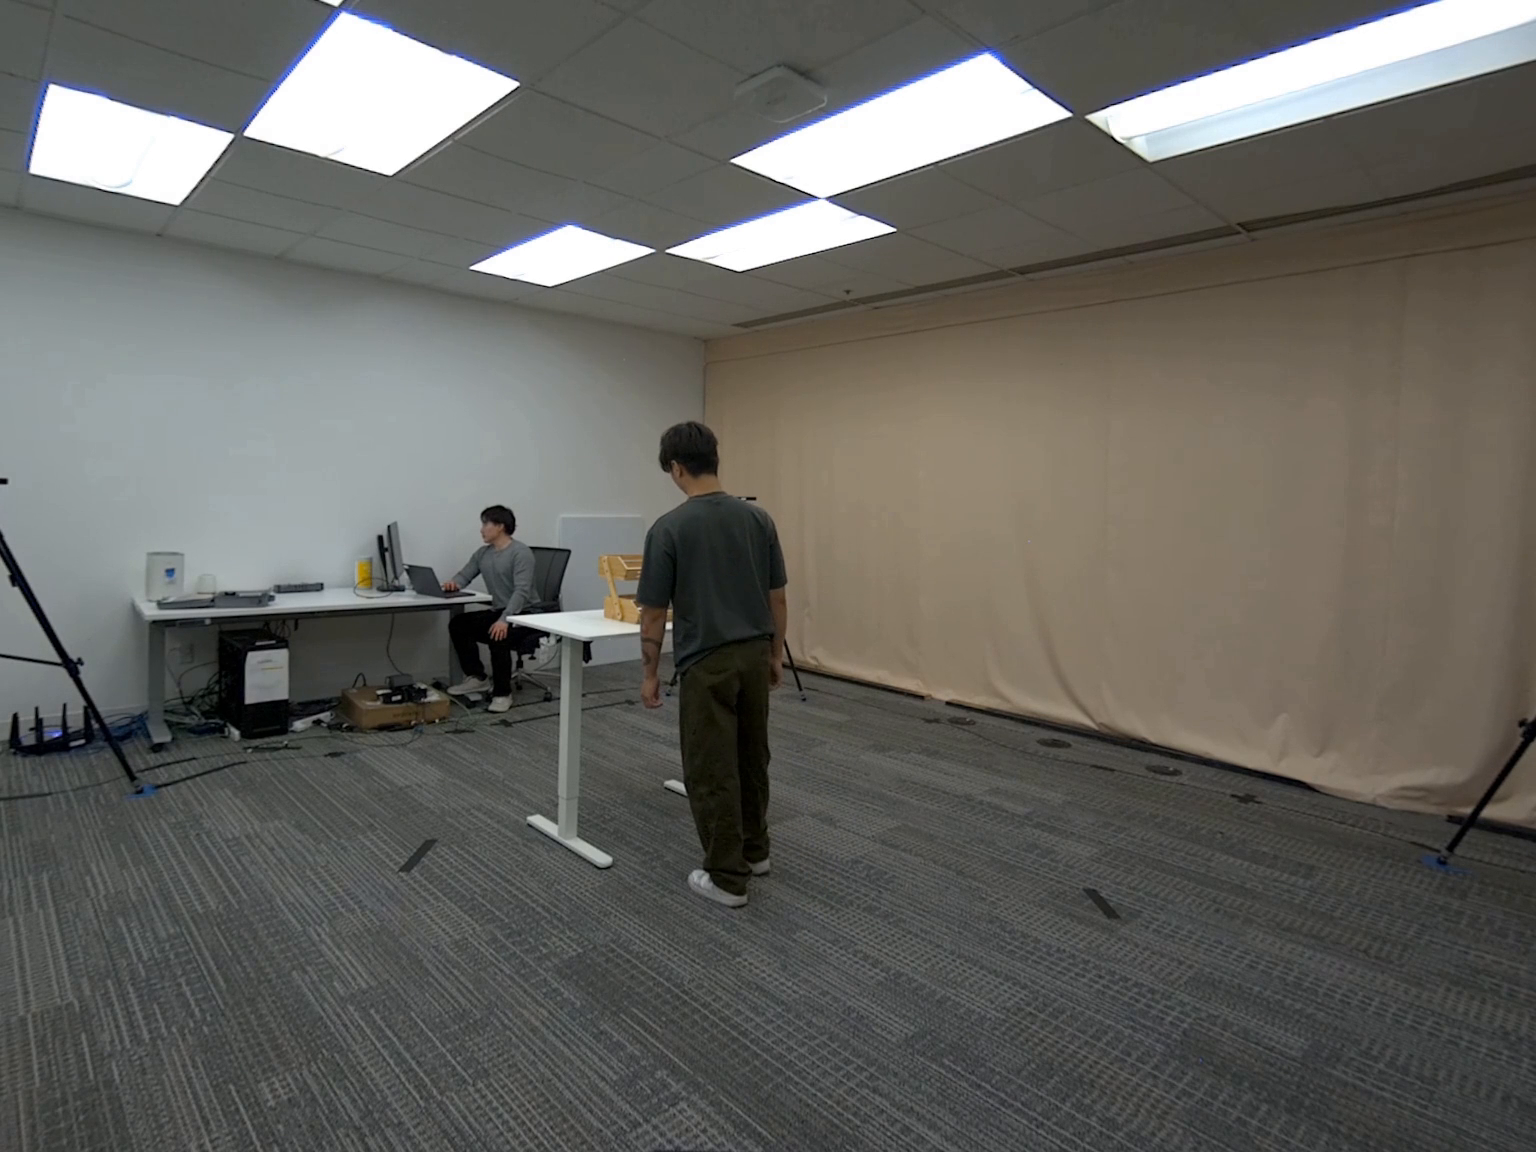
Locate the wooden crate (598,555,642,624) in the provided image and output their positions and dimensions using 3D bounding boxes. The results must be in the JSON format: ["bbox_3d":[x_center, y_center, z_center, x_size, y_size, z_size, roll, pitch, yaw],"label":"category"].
[{"bbox_3d":[-0.515,0.043,3.548,0.317,0.273,0.310,-2,4,-44],"label":"wooden crate"}]
